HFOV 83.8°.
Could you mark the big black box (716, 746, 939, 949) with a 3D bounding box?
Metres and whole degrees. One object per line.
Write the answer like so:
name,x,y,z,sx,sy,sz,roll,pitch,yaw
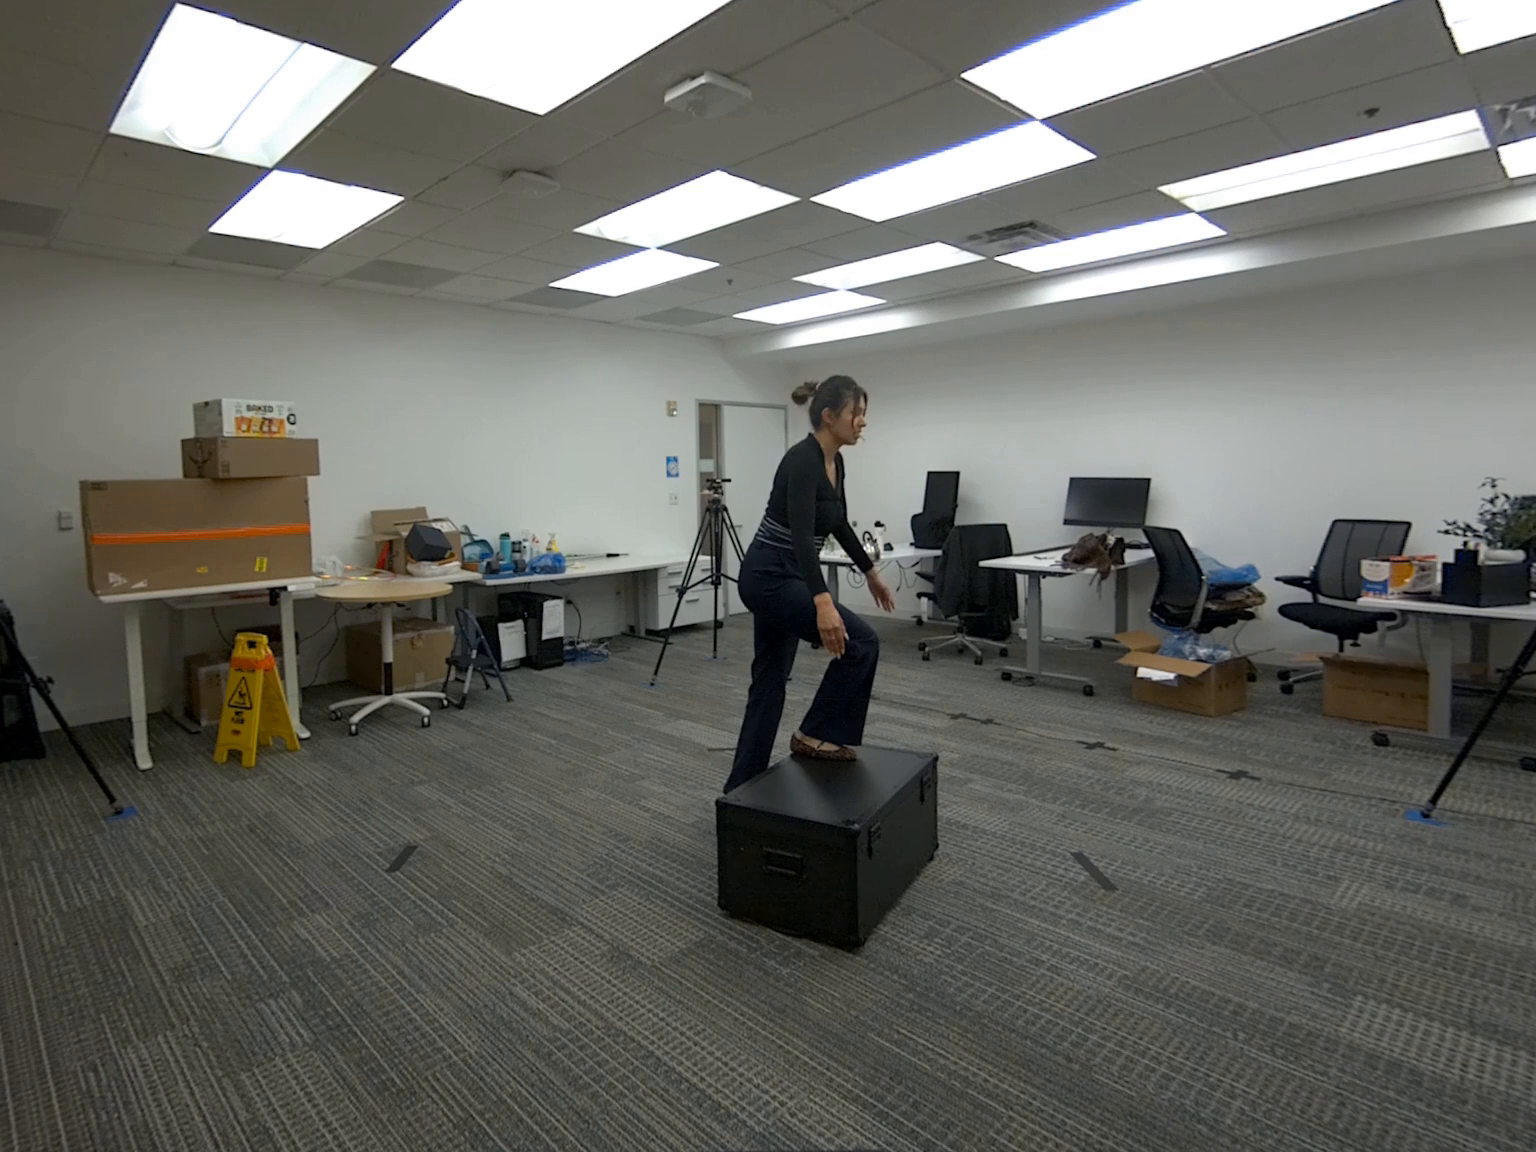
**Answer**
big black box,0.251,0.869,2.955,0.534,0.395,0.843,1,6,29
